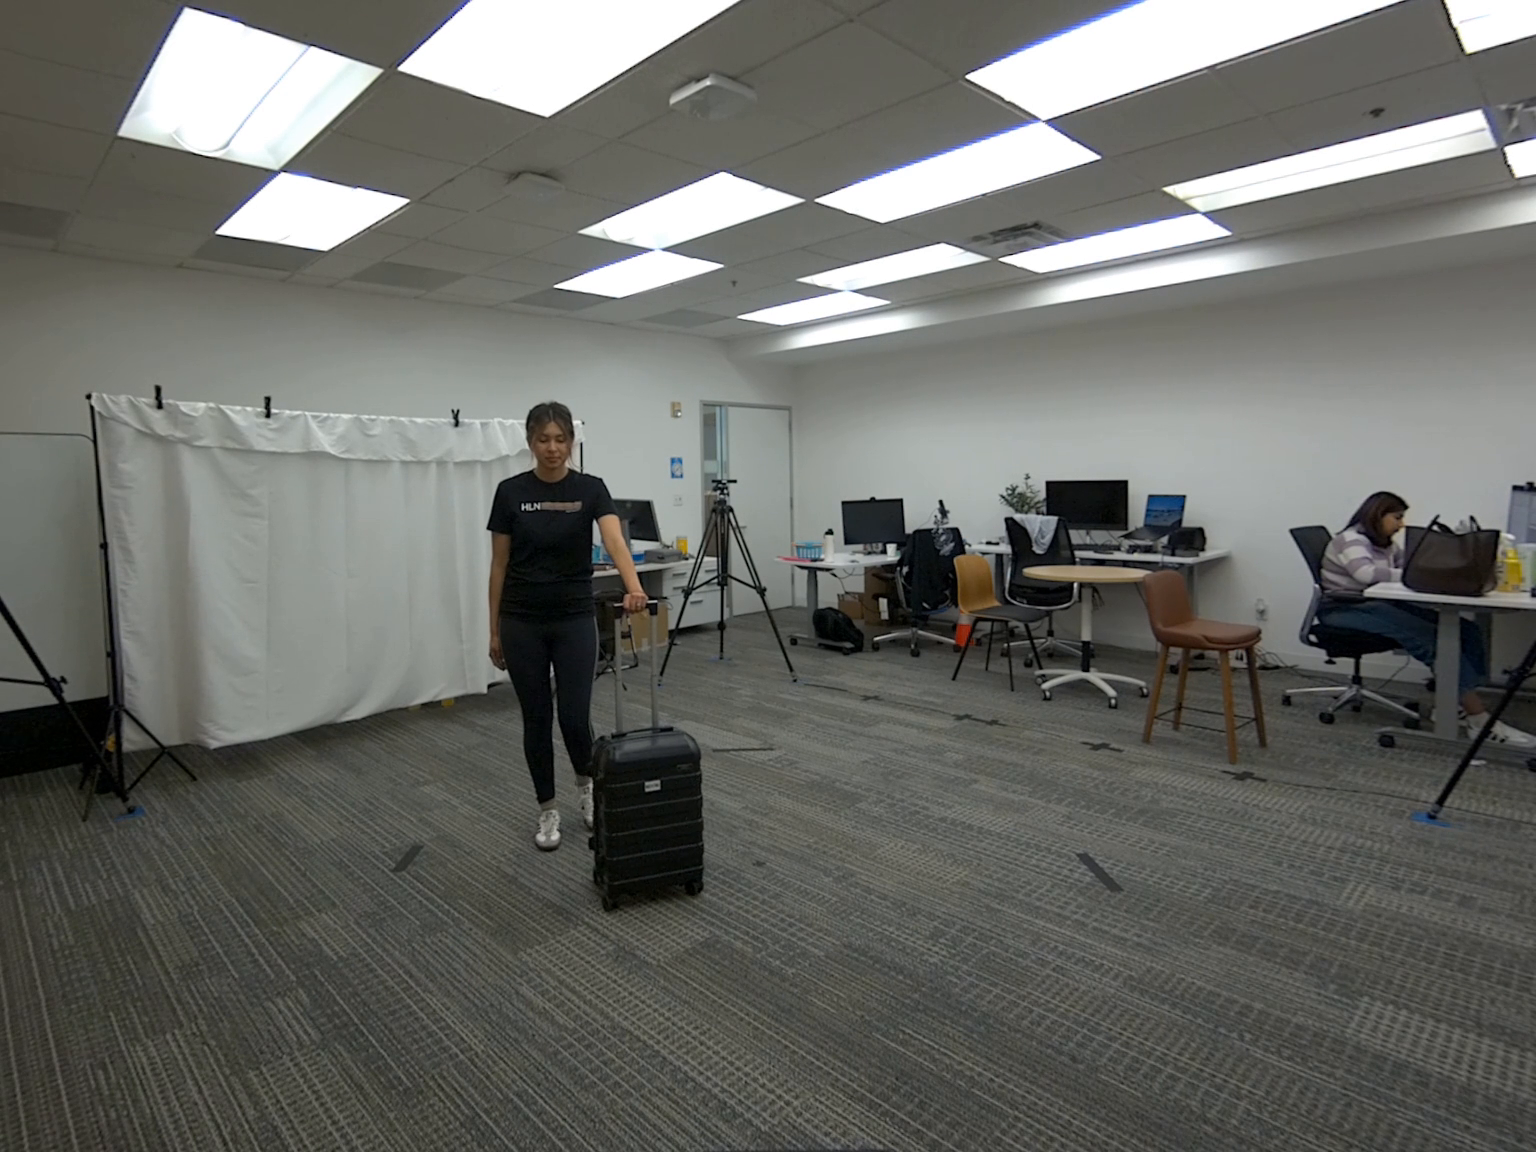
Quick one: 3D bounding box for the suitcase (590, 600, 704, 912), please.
[{"bbox_3d":[-0.406,0.603,2.888,0.377,0.972,0.263,-2,7,-20],"label":"suitcase"}]
